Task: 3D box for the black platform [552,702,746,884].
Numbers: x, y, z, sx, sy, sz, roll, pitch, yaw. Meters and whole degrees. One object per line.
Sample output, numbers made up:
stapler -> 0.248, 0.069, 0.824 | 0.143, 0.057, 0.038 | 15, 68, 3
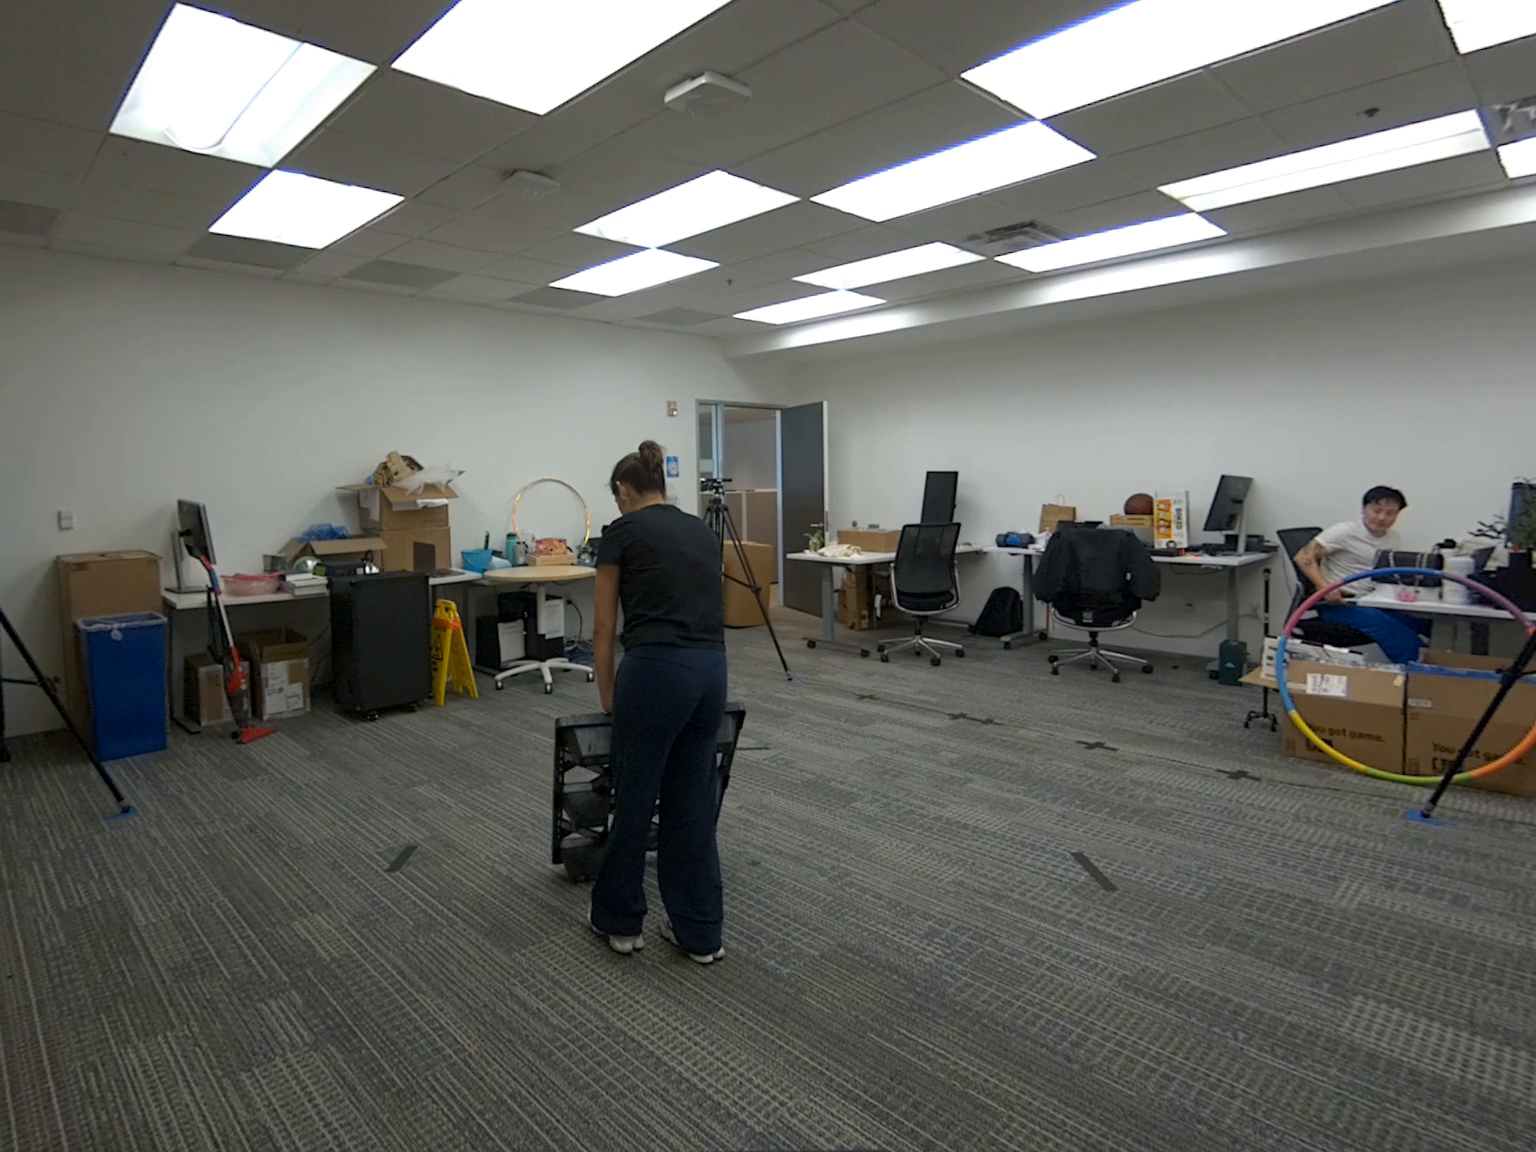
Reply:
black platform -> -0.411, 0.751, 2.870 | 0.596, 0.789, 0.148 | -2, 41, -16
